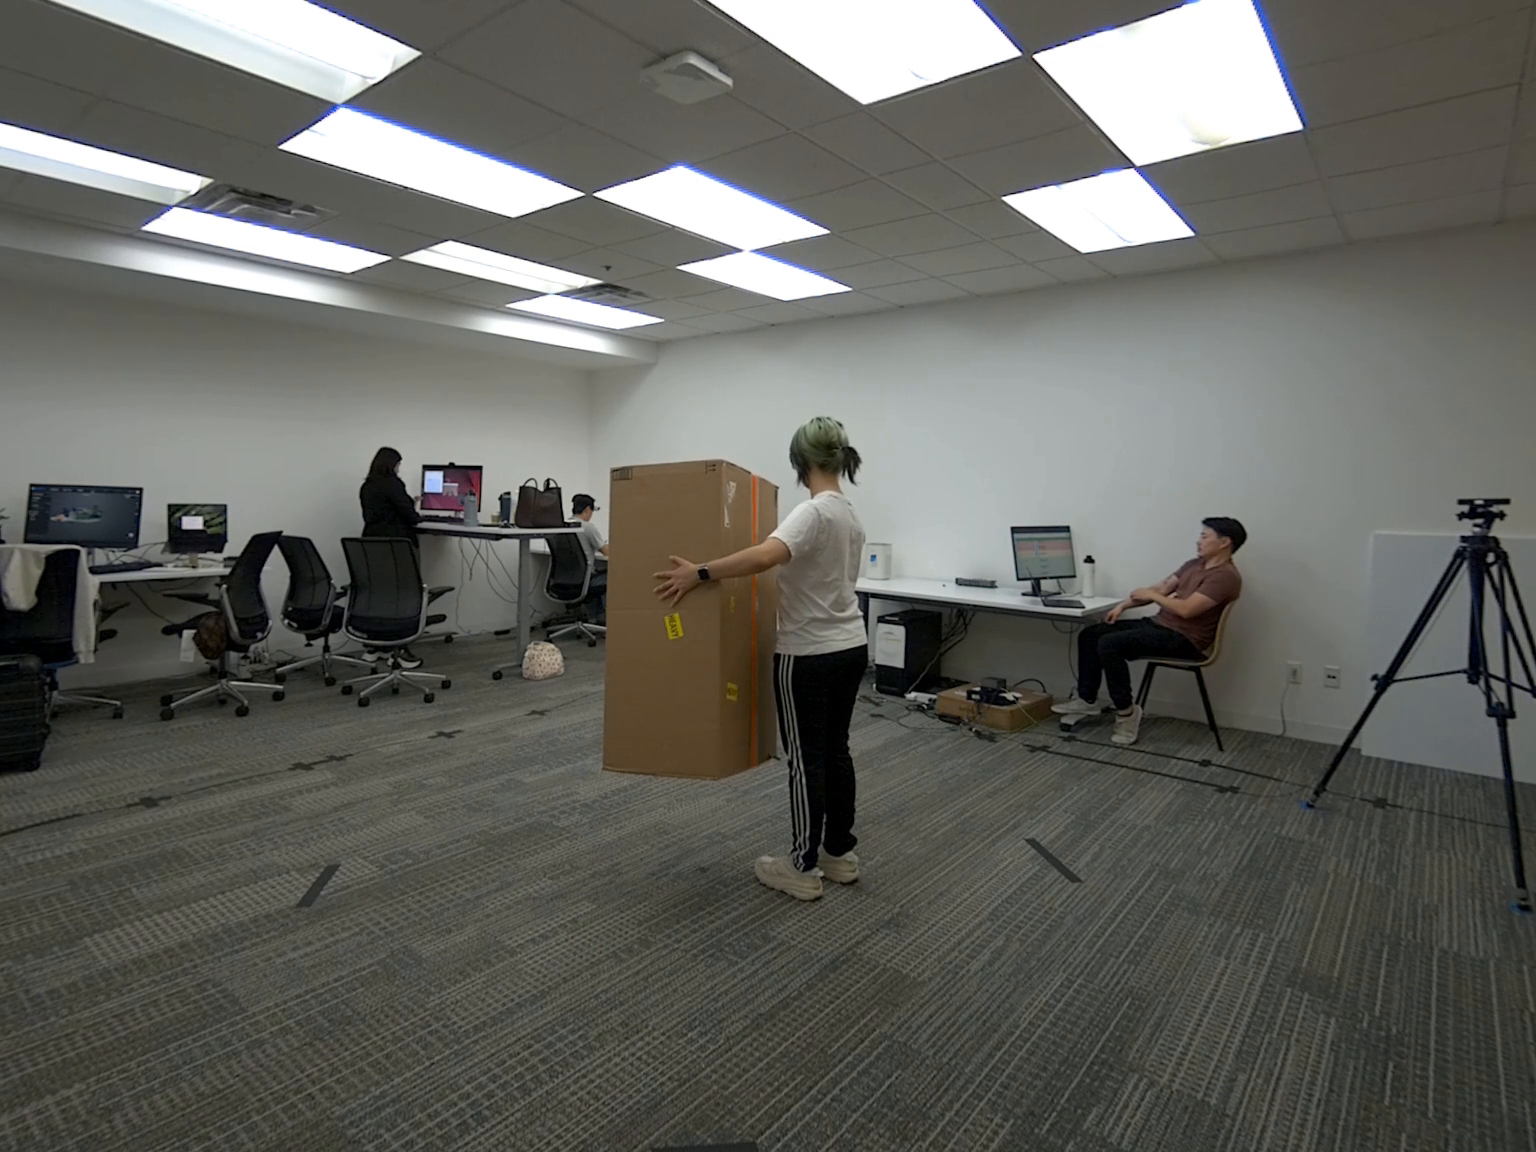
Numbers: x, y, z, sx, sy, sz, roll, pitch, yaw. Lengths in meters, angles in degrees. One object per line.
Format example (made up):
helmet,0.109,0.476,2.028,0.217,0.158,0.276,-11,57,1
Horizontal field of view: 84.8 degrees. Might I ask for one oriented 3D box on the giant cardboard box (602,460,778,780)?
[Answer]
giant cardboard box,-0.261,0.149,3.053,0.435,1.032,0.561,-2,-6,22
